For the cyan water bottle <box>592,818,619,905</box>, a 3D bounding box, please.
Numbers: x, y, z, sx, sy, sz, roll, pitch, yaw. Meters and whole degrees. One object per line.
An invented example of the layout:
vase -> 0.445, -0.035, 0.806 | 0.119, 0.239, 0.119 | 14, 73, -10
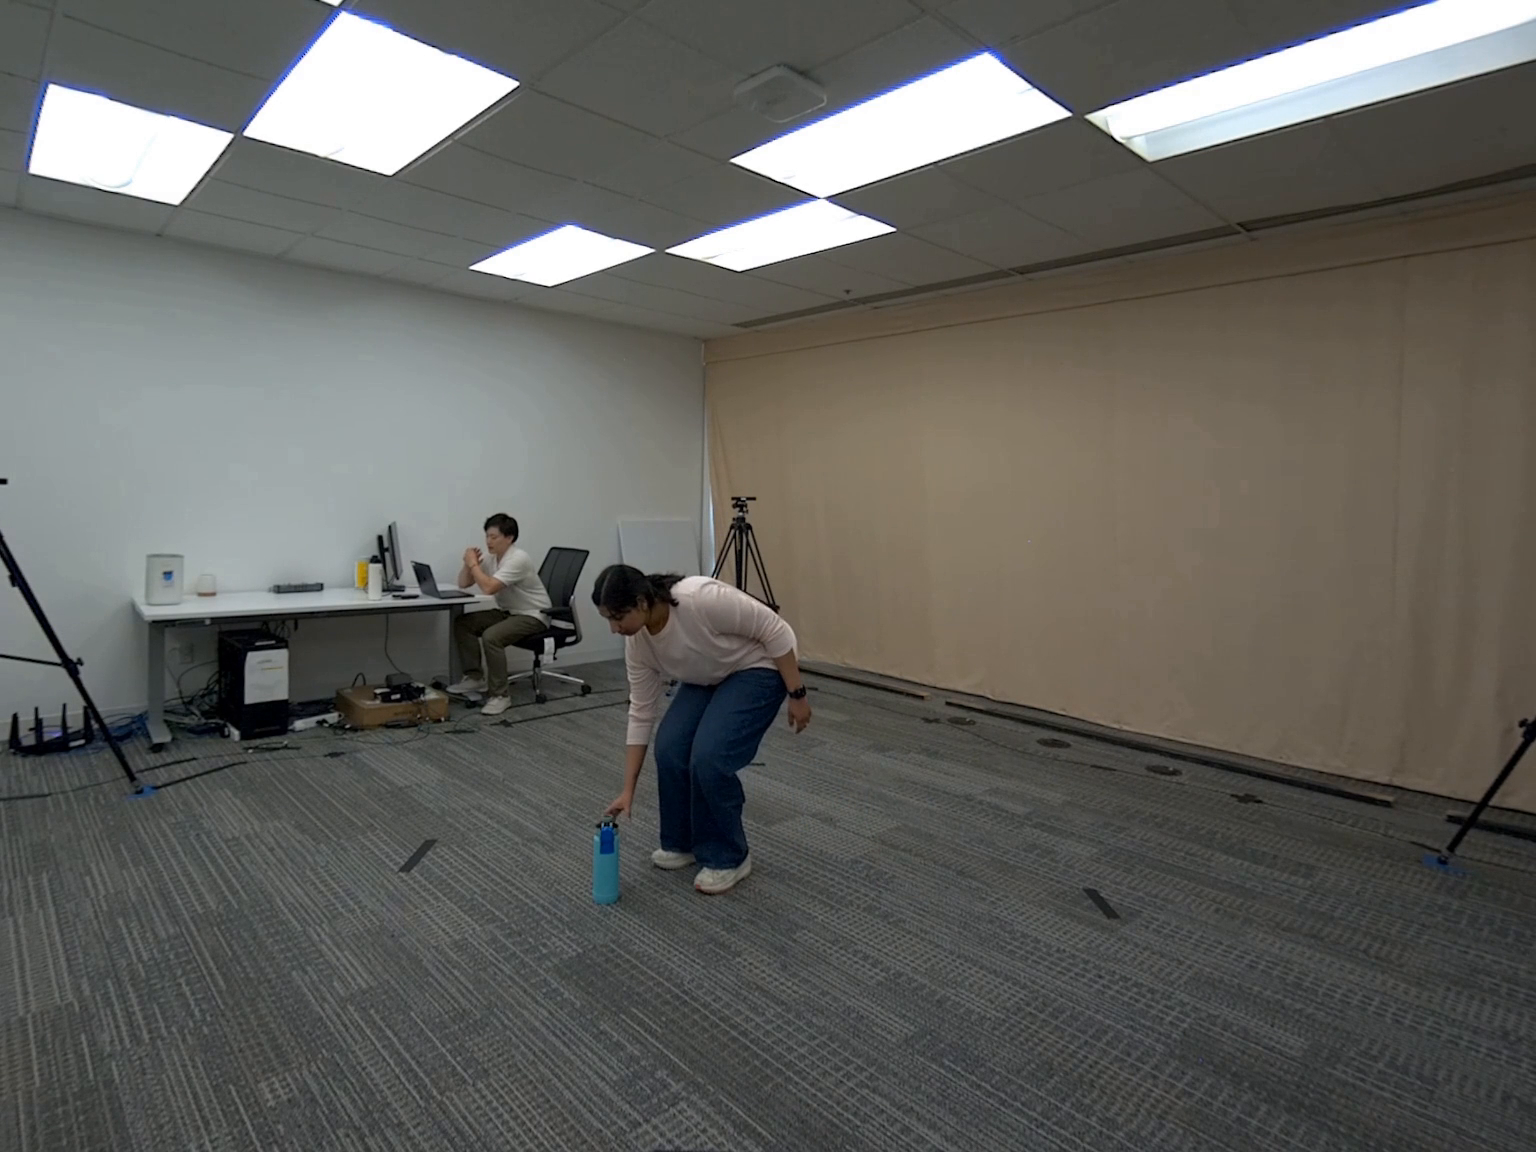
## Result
cyan water bottle -> -0.564, 0.973, 2.897 | 0.092, 0.282, 0.093 | 2, 5, -2
